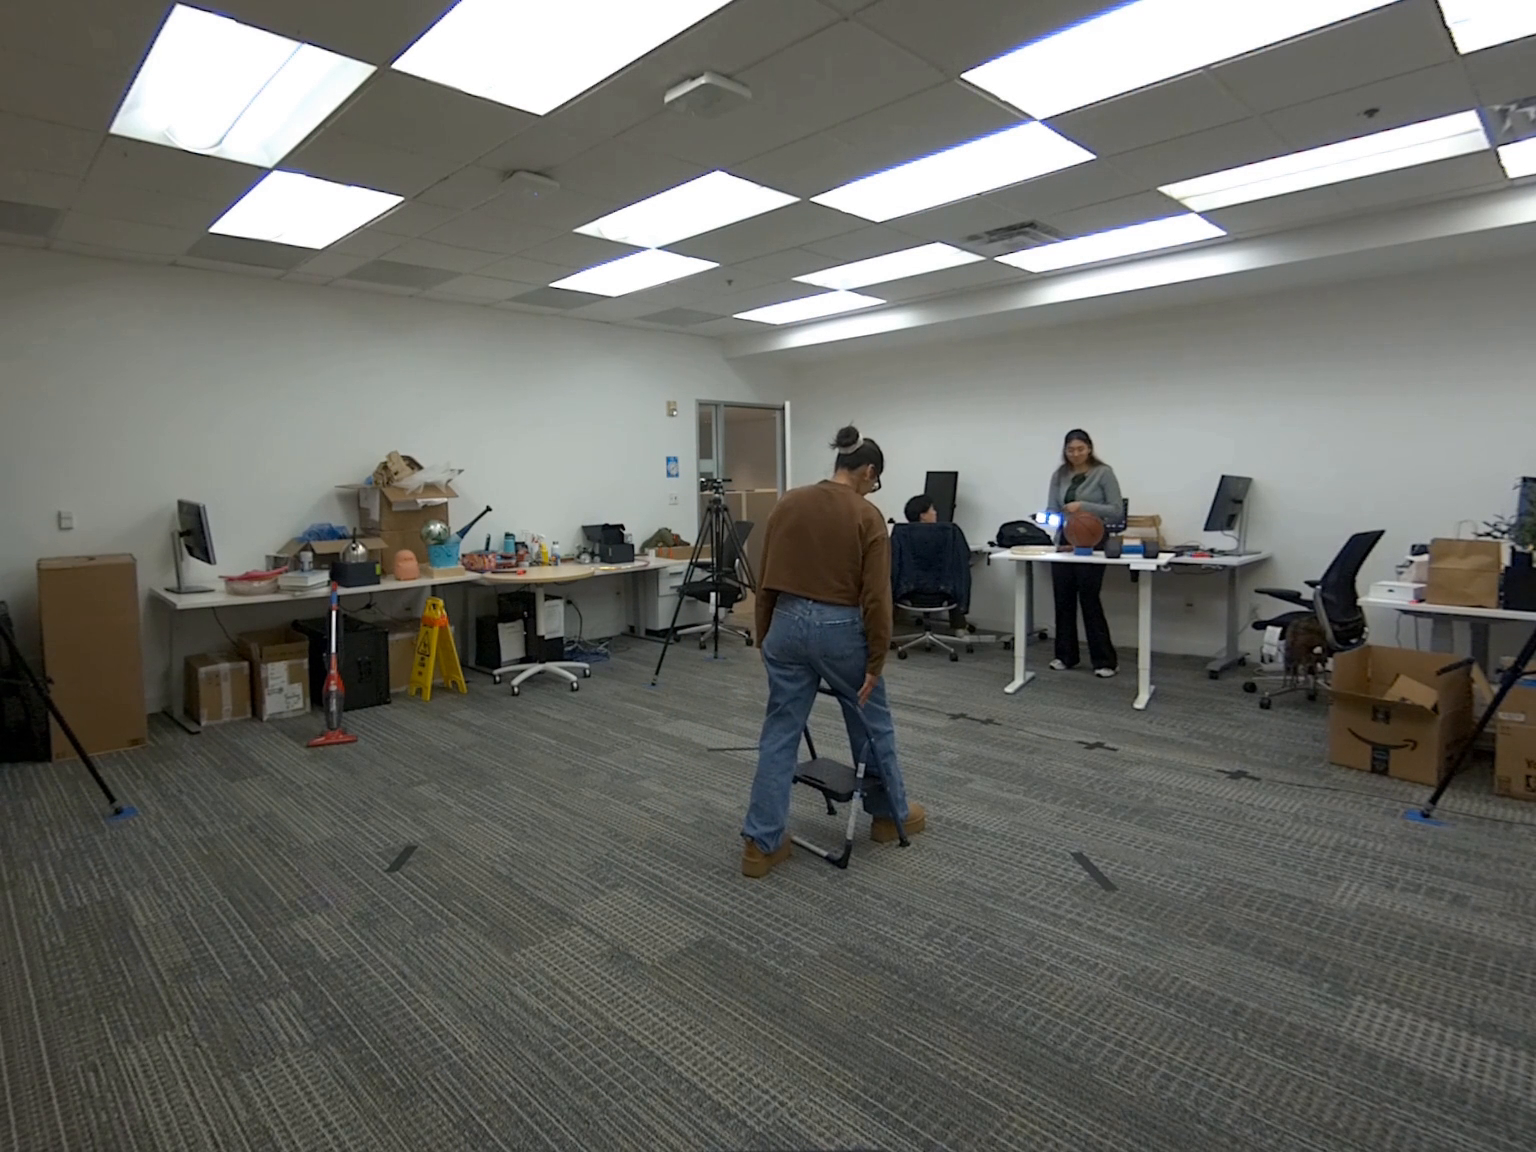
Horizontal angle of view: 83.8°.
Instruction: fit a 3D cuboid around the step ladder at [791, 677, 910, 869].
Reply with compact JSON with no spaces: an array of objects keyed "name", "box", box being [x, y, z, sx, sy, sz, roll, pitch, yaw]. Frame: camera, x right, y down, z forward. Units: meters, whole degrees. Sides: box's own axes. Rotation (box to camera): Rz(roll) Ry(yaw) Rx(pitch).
[{"name":"step ladder","box":[0.262,0.712,3.287,0.340,0.603,0.443,-6,6,-38]}]
